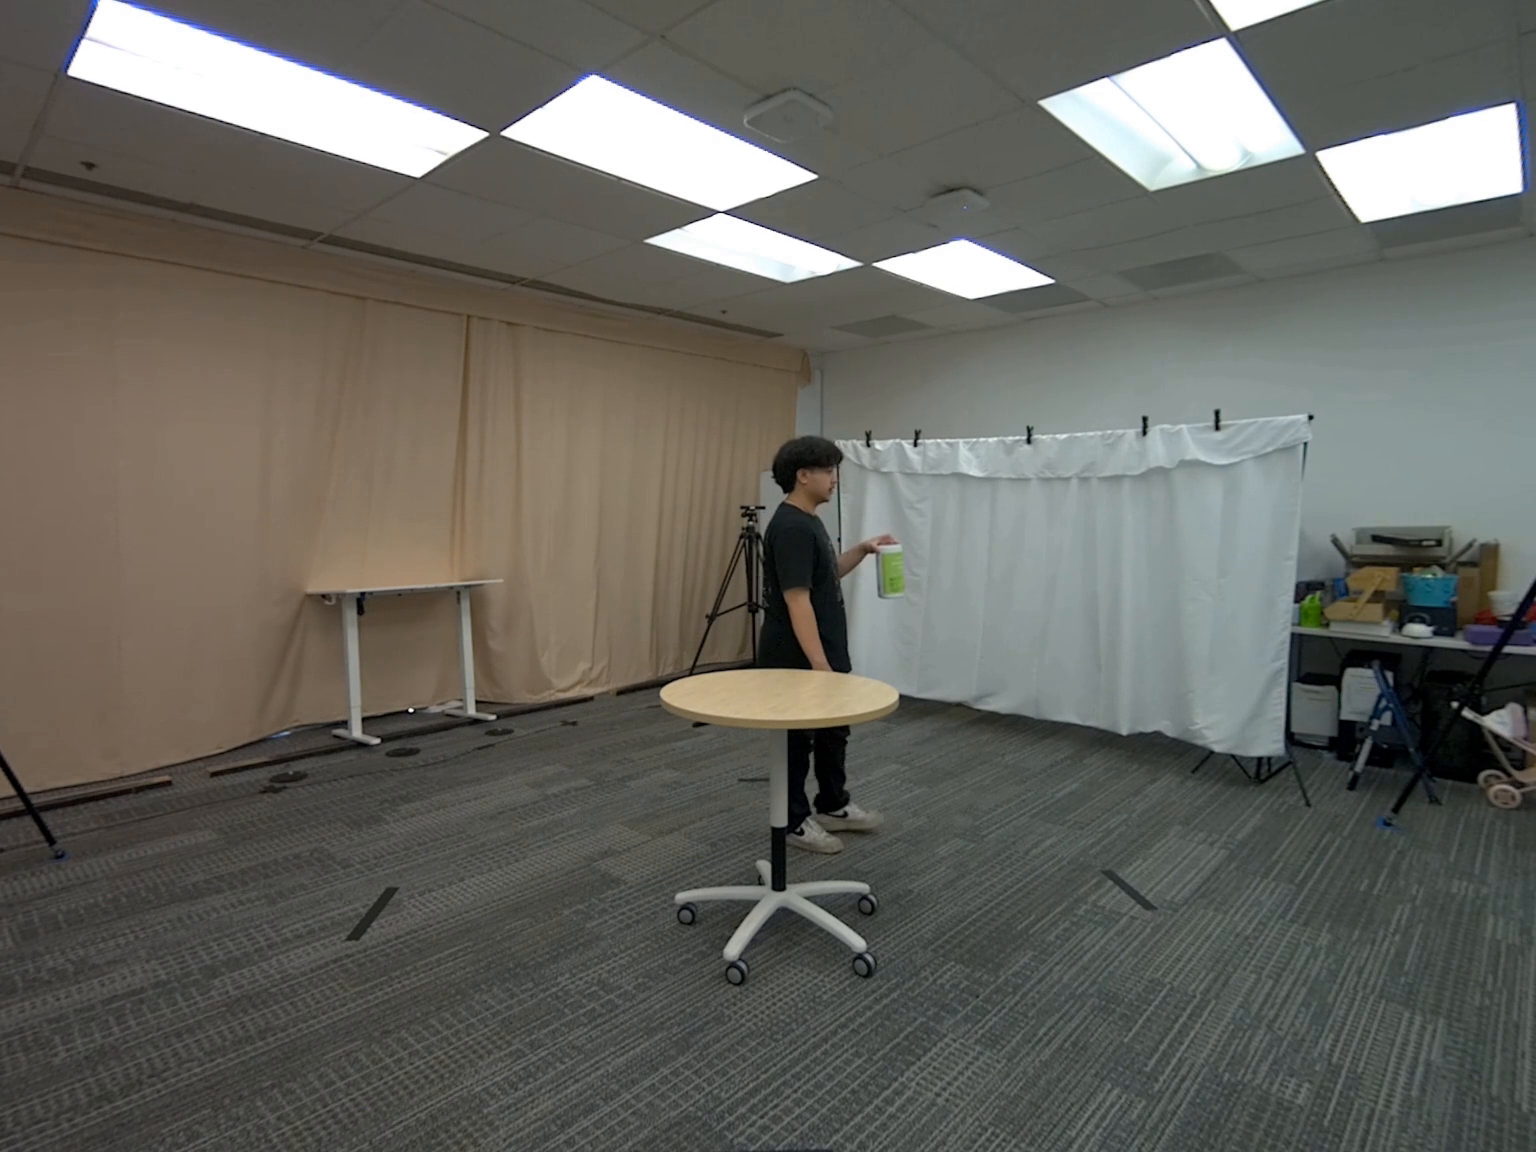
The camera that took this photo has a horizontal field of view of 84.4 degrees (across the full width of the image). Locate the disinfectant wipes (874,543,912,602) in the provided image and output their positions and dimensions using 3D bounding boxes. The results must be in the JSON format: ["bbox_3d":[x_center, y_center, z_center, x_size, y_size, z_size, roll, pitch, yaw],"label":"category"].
[{"bbox_3d":[0.503,-0.019,3.442,0.118,0.216,0.118,-4,6,-1],"label":"disinfectant wipes"}]
